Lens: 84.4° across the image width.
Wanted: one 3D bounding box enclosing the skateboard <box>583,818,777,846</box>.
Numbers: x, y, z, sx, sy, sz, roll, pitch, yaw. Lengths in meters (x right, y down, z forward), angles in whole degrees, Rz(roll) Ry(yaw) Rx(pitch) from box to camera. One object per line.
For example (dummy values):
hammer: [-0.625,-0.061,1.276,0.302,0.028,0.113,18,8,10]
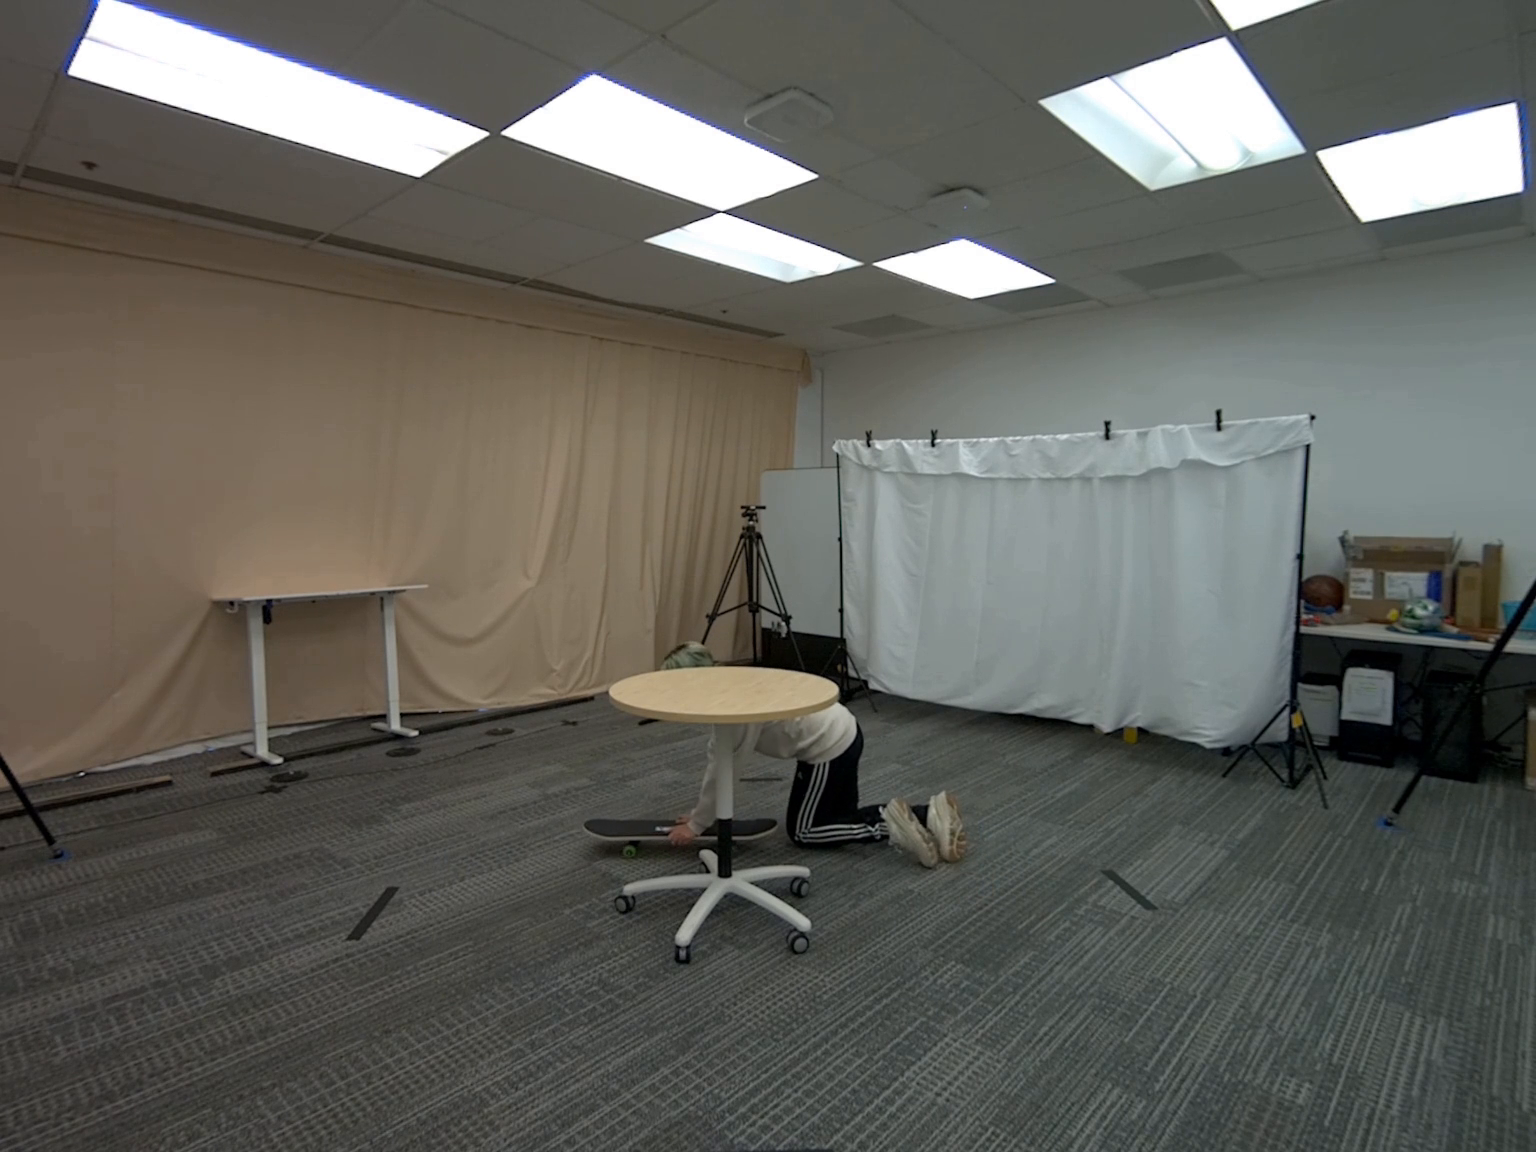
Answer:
skateboard: [-0.350,1.055,3.412,0.786,0.110,0.193,-1,3,1]
